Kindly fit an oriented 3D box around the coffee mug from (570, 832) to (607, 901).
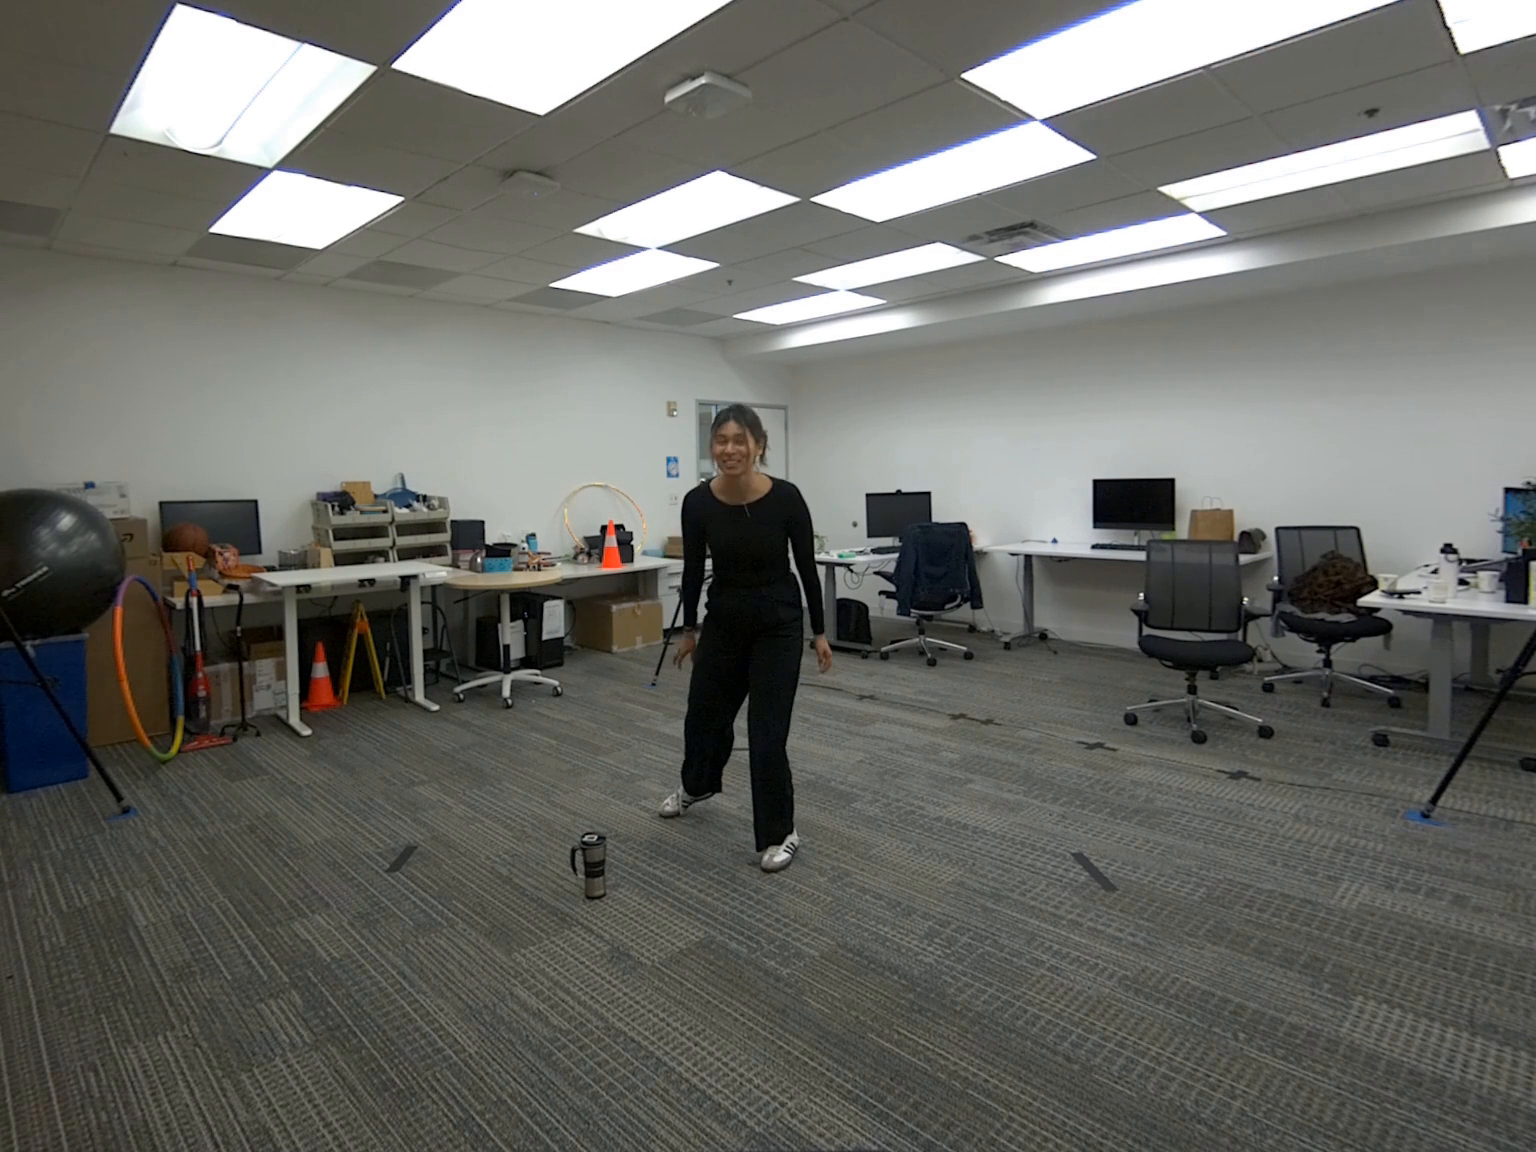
[{"bbox_3d":[-0.606,0.987,2.889,0.121,0.202,0.089,3,5,-9],"label":"coffee mug"}]
